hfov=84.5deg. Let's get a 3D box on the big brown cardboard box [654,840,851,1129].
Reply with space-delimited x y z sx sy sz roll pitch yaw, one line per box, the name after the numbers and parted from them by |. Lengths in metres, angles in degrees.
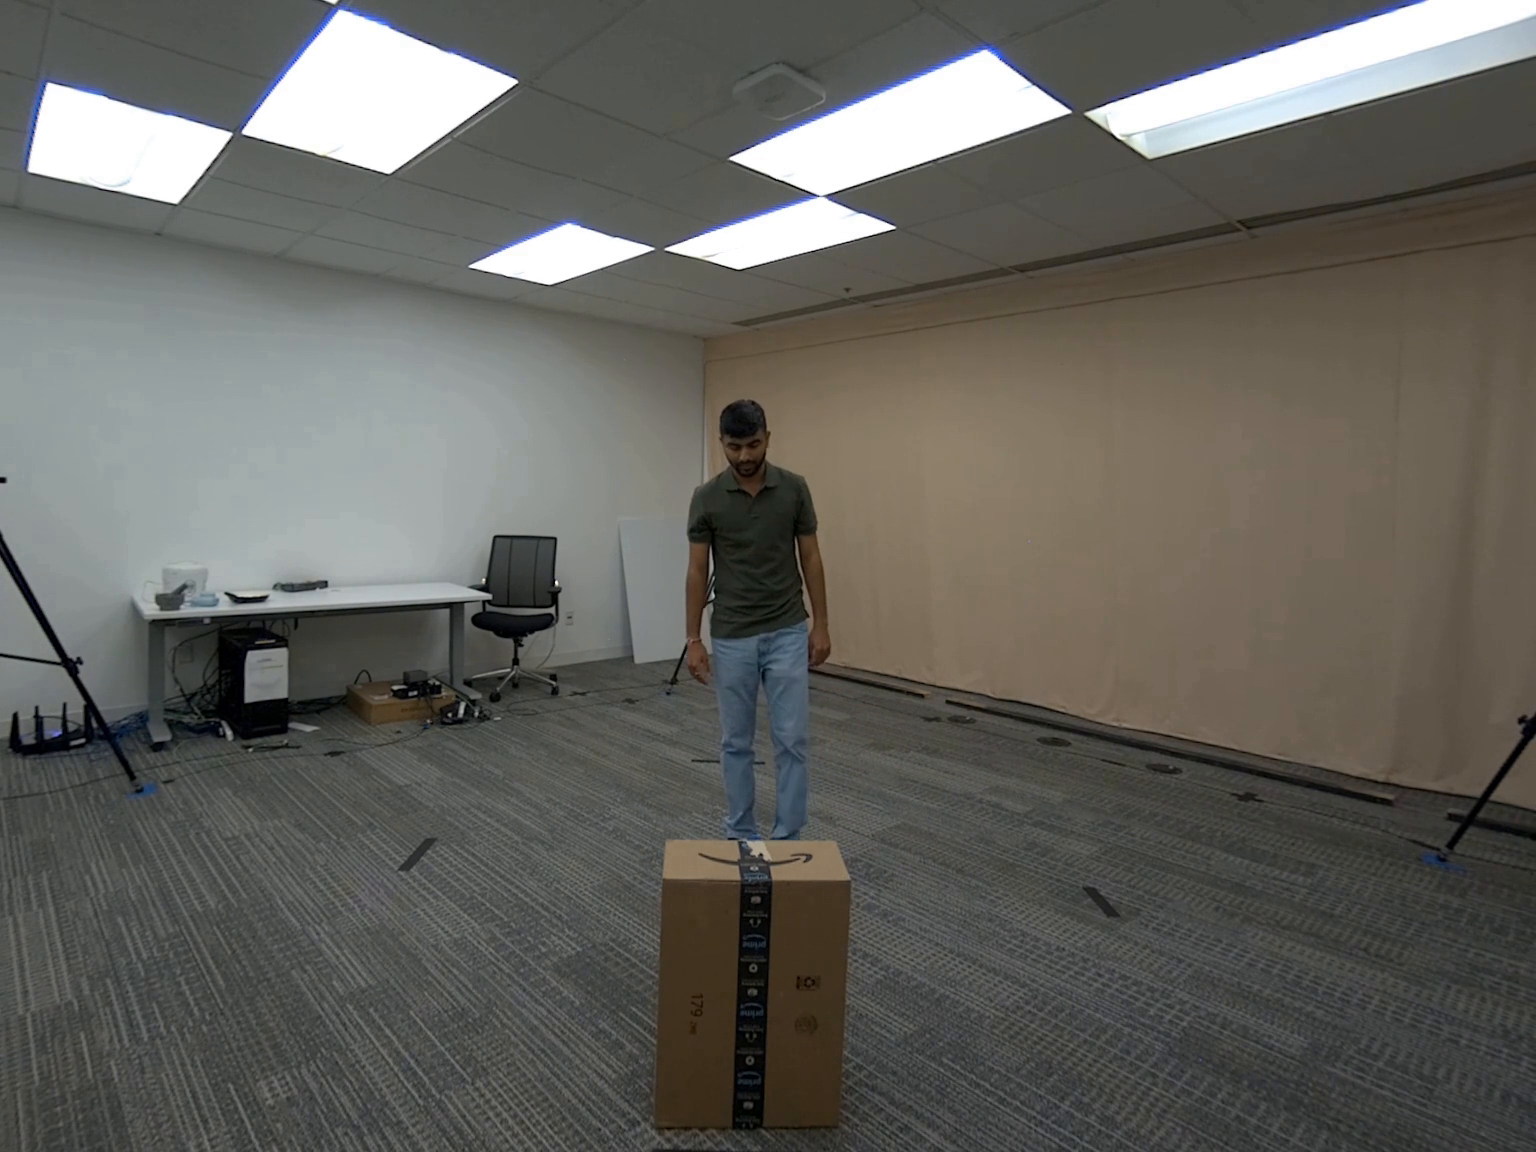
-0.054 0.937 1.943 0.417 0.587 0.234 2 4 -3 | big brown cardboard box
